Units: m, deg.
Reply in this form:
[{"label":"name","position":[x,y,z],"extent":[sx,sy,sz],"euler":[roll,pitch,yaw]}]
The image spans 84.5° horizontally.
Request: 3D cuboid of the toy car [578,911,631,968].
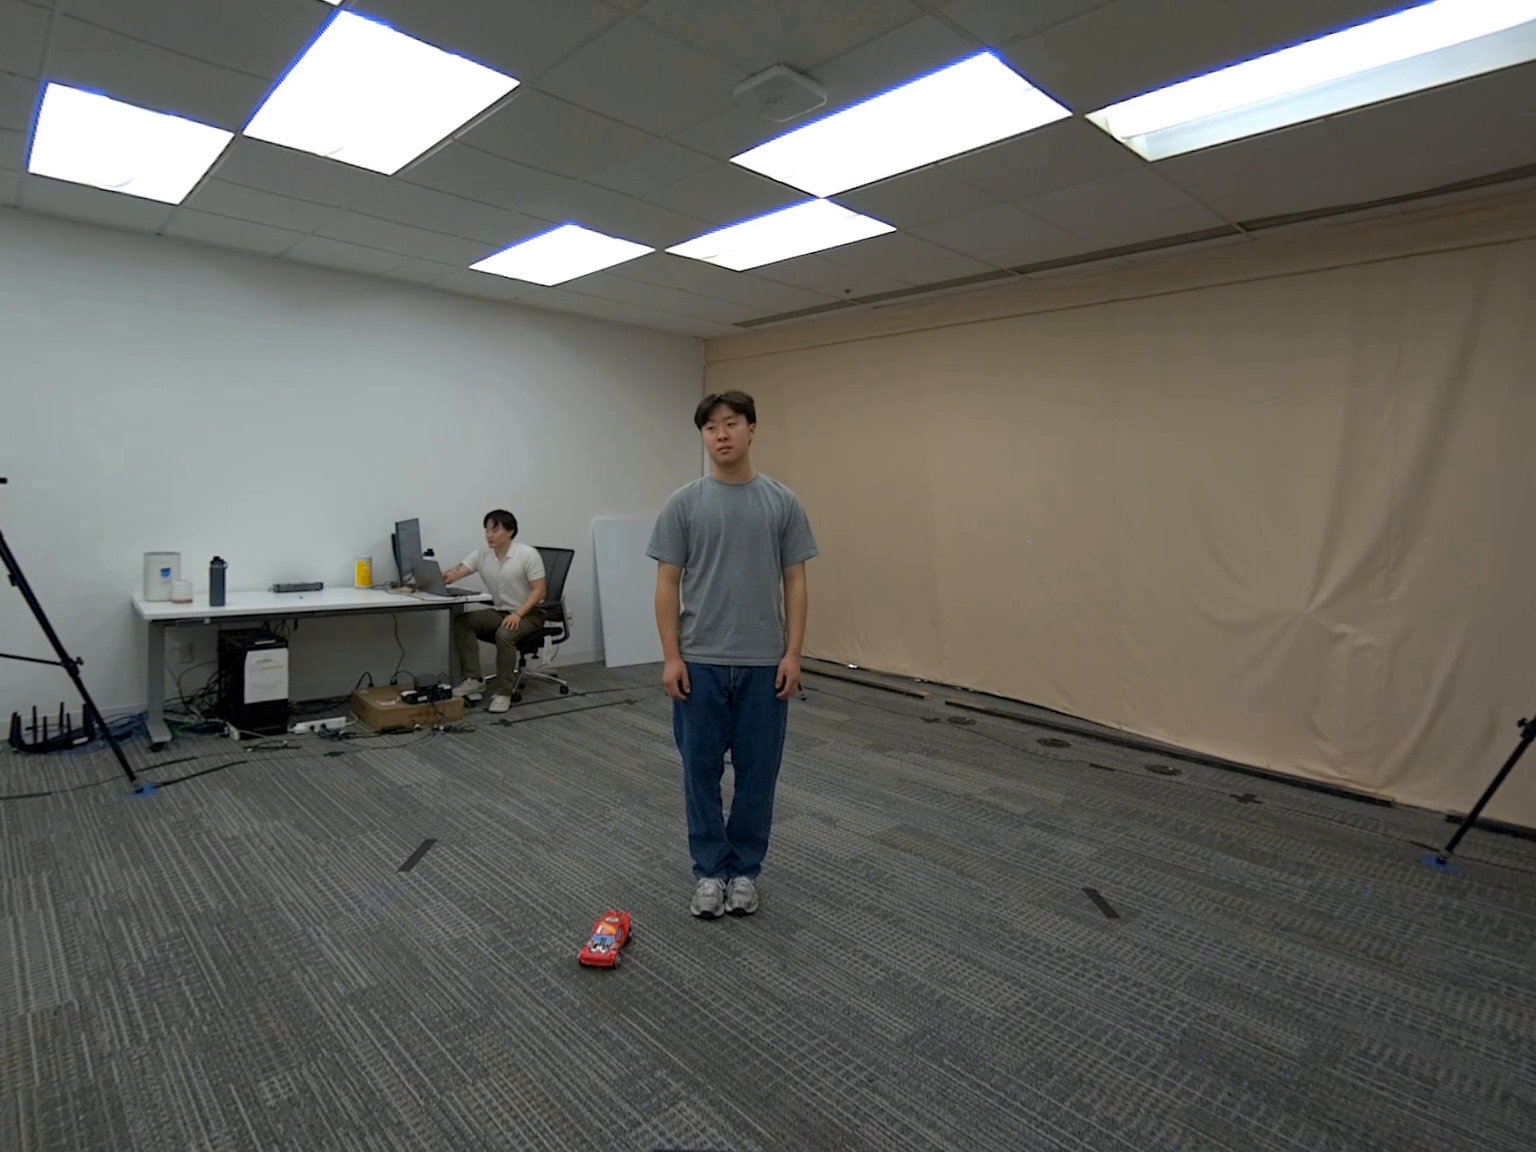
[{"label":"toy car","position":[-0.498,1.117,2.569],"extent":[0.131,0.082,0.256],"euler":[1,16,5]}]
